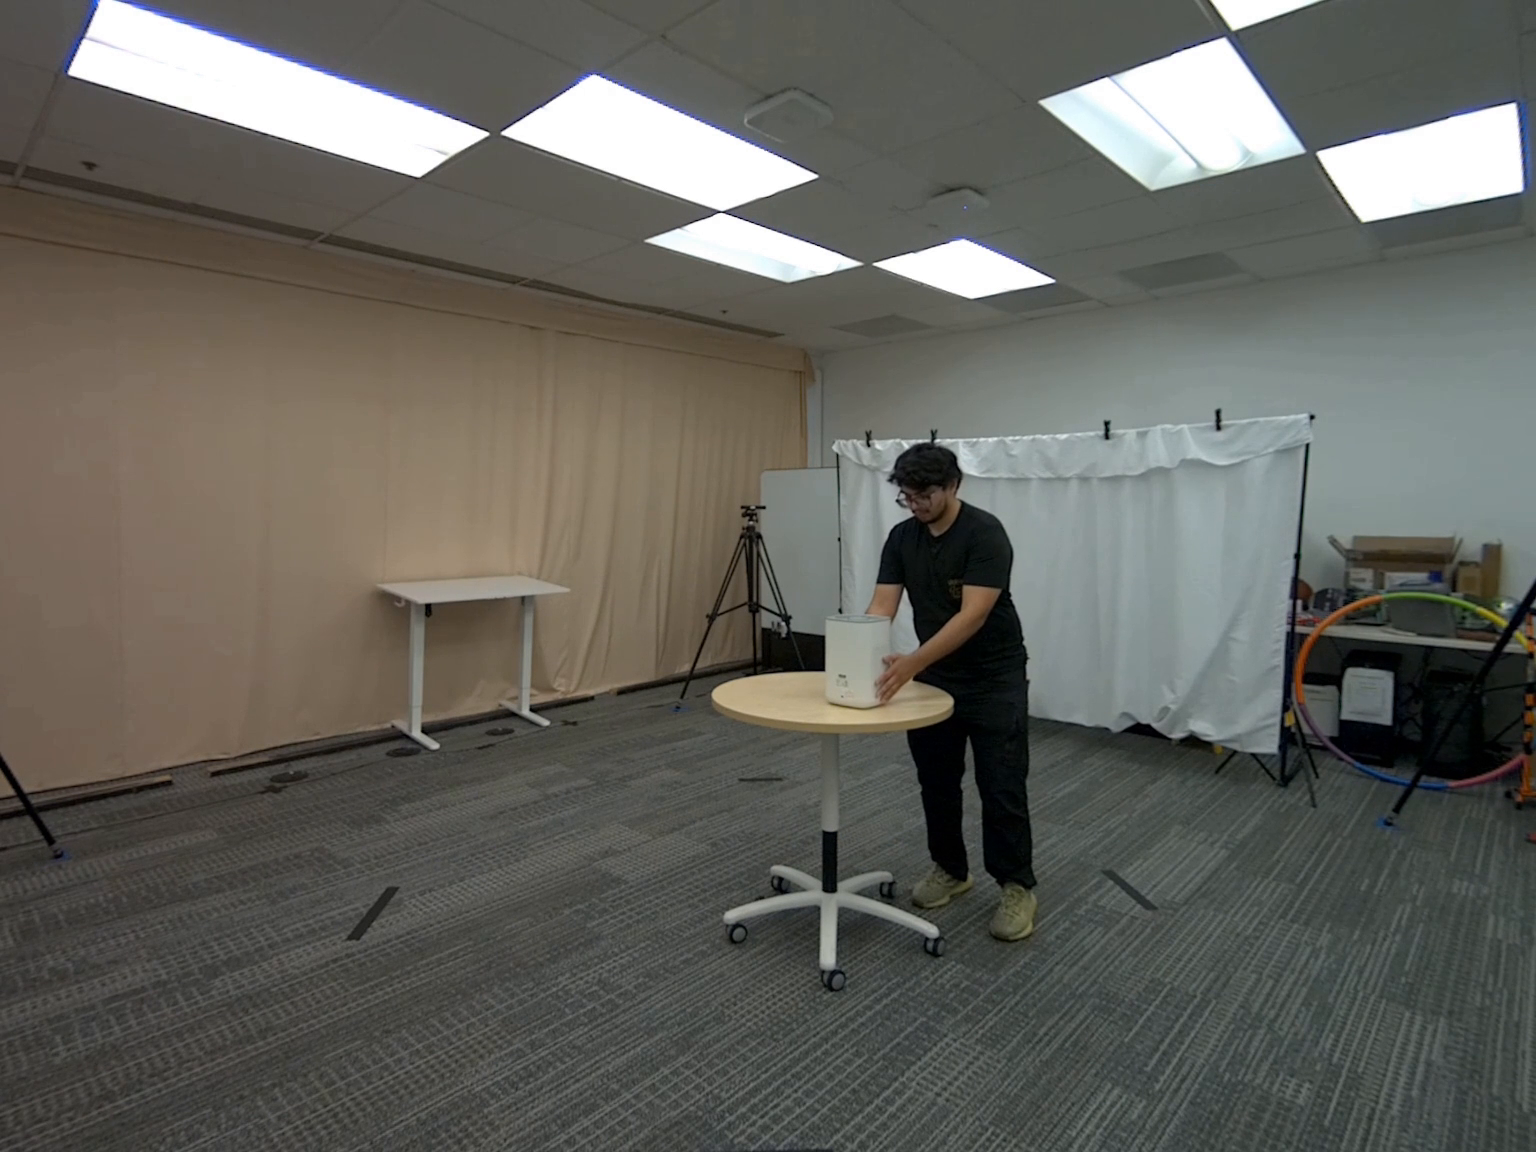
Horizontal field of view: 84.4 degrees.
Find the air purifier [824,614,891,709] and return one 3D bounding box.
[{"bbox_3d":[0.281,0.259,2.574,0.176,0.265,0.166,3,4,38],"label":"air purifier"}]
